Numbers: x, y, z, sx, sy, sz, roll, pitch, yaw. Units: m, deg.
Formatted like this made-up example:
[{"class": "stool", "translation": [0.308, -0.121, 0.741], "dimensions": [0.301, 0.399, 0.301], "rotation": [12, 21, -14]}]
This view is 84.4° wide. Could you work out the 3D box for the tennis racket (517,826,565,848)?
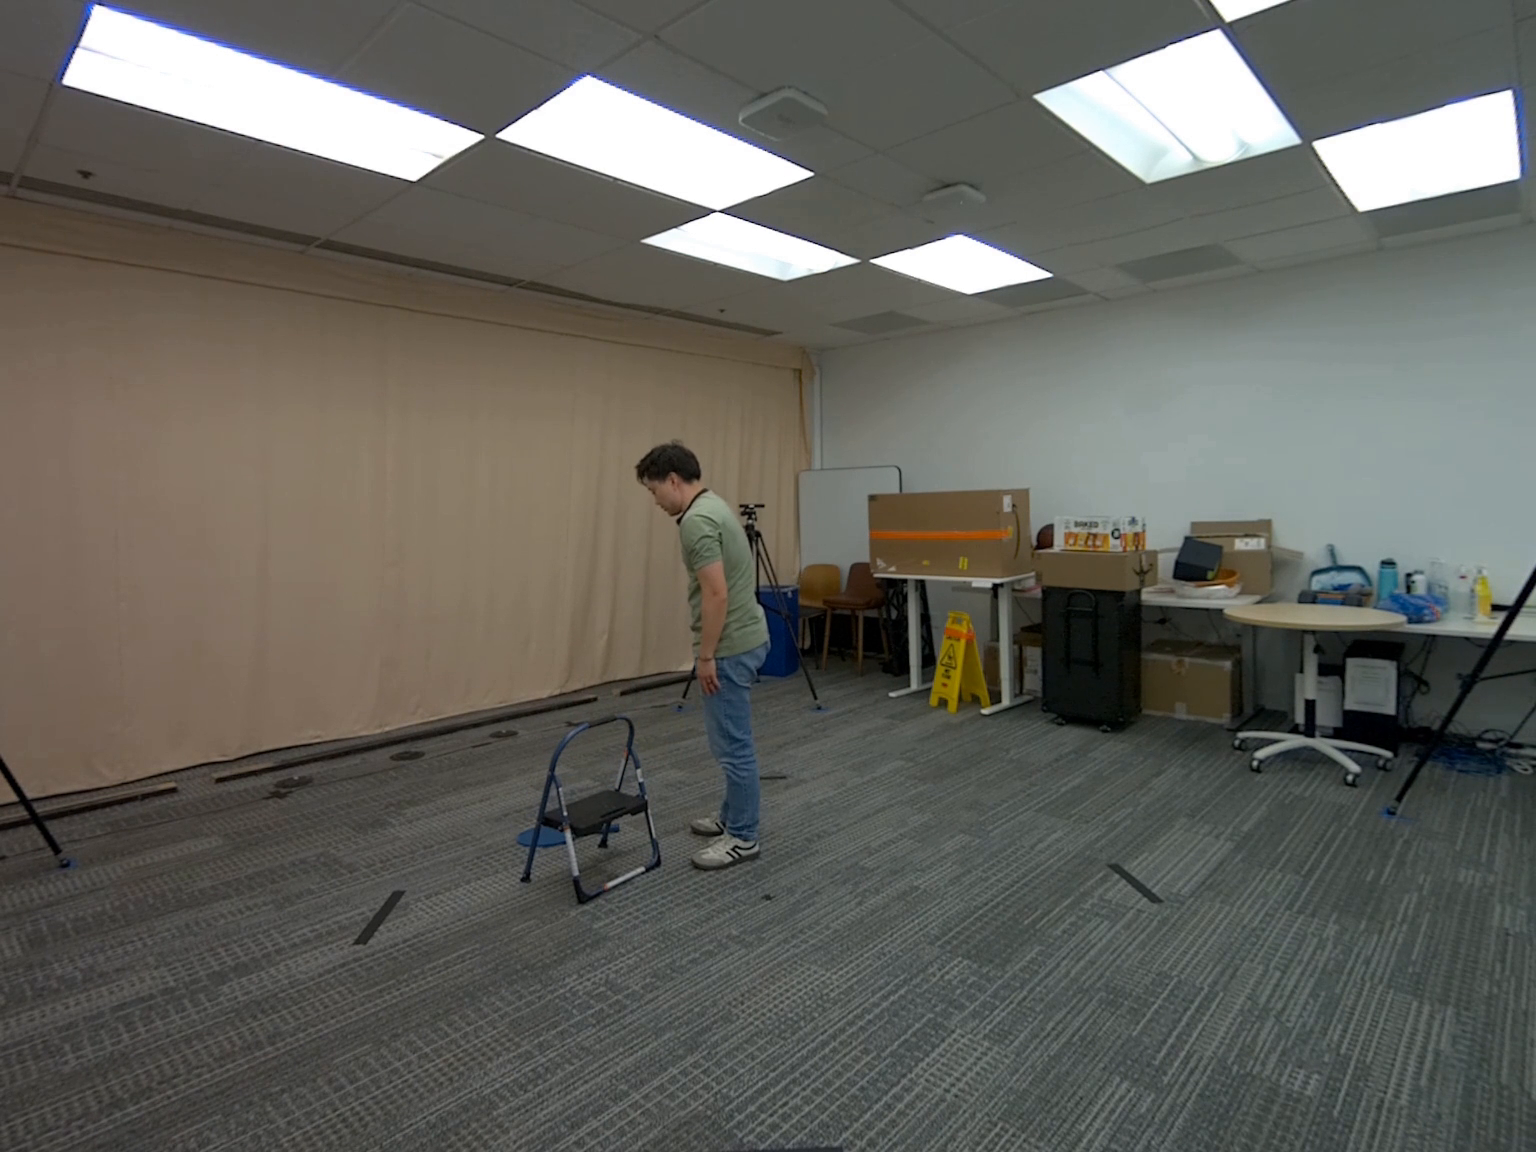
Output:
[{"class": "tennis racket", "translation": [-0.852, 1.100, 3.593], "dimensions": [0.428, 0.031, 0.217], "rotation": [-4, 6, -11]}]
